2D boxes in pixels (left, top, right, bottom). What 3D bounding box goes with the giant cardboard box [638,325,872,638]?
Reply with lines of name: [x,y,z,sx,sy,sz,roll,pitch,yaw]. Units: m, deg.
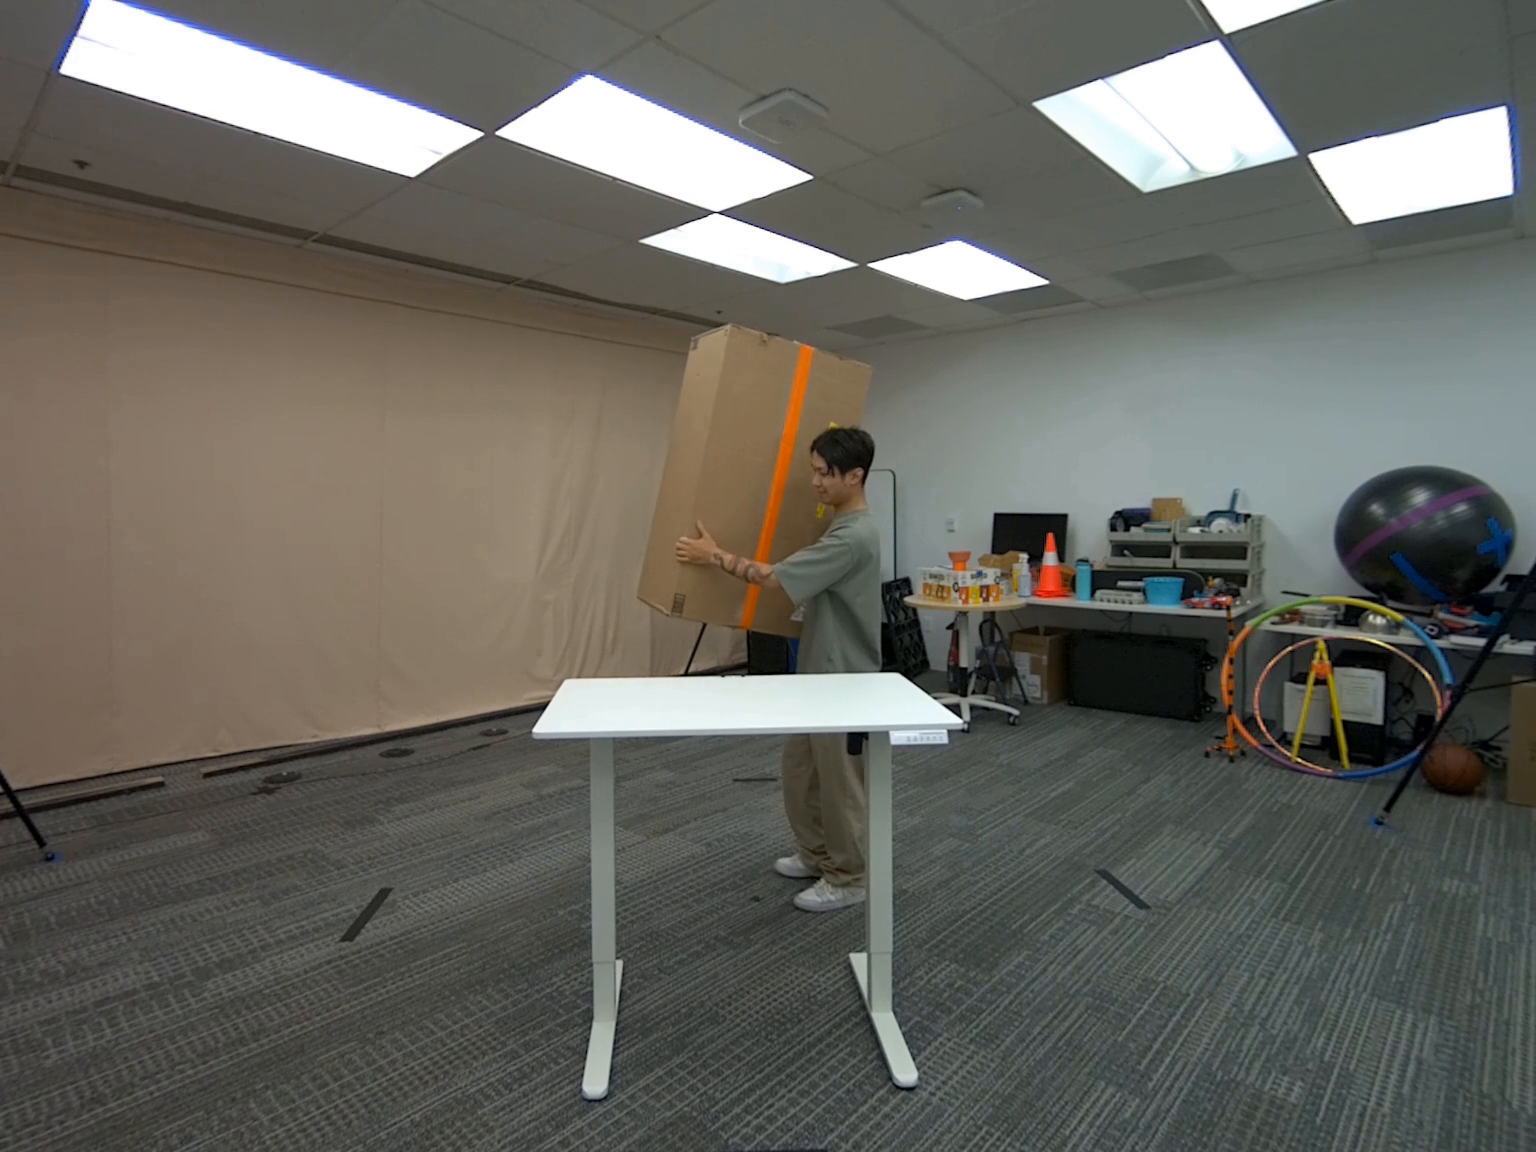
giant cardboard box: [-0.061,-0.332,3.154,0.563,1.025,0.437,11,1,-24]
